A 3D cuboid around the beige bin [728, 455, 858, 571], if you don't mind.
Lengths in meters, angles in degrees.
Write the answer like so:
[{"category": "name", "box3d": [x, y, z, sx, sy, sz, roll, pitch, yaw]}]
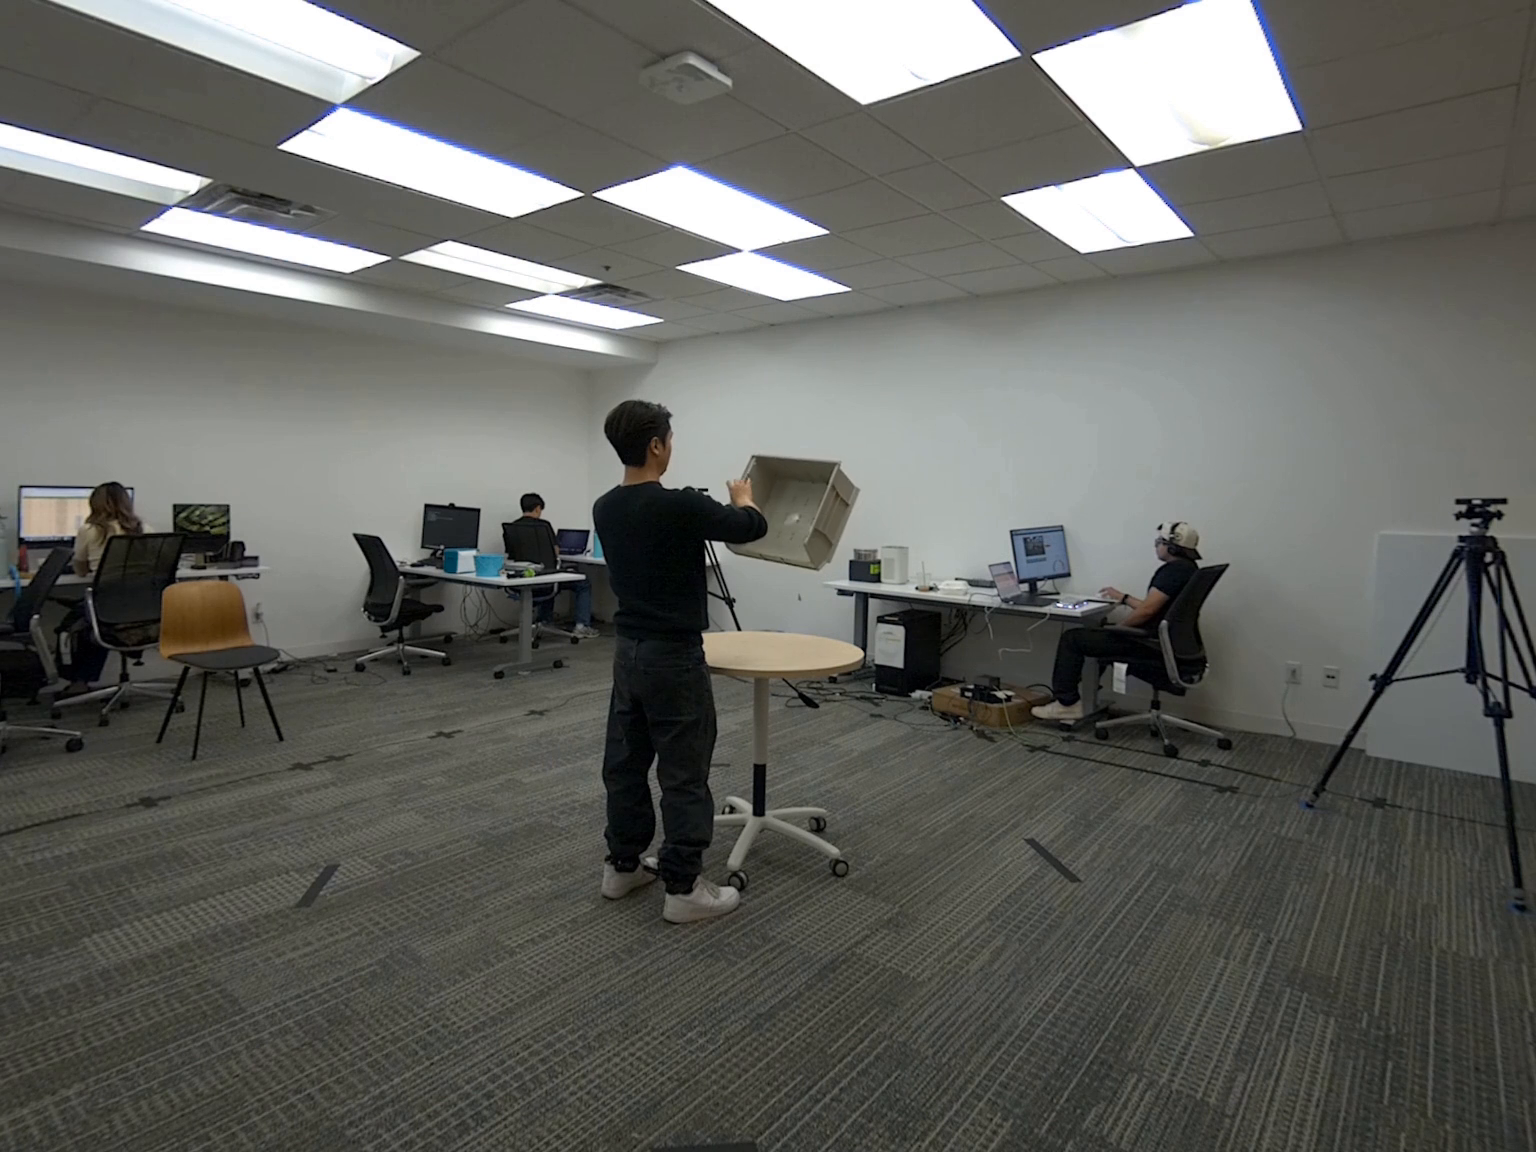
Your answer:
[{"category": "beige bin", "box3d": [0.066, -0.234, 3.193, 0.438, 0.380, 0.181, 11, -21, 40]}]
